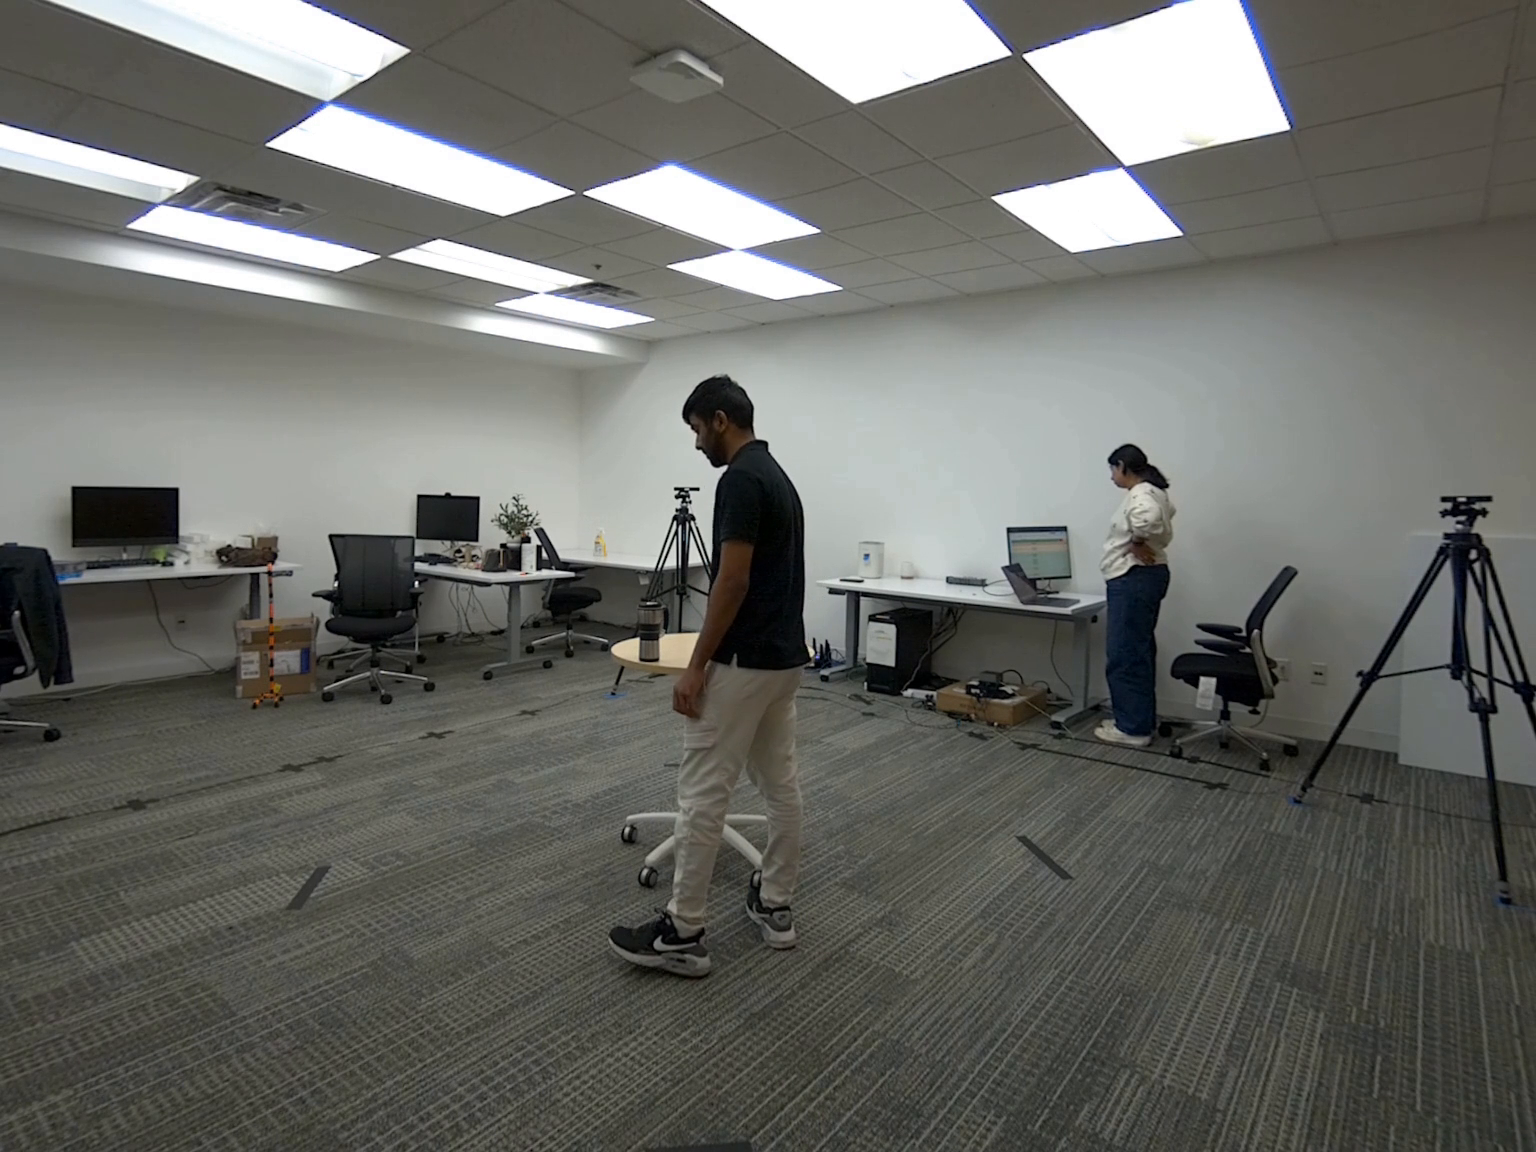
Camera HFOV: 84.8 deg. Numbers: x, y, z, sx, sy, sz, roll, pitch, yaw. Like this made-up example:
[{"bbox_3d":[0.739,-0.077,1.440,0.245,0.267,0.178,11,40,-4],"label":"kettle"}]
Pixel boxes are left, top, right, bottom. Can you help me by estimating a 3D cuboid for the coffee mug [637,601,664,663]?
[{"bbox_3d":[-0.403,0.192,2.953,0.125,0.203,0.085,1,-2,31],"label":"coffee mug"}]
